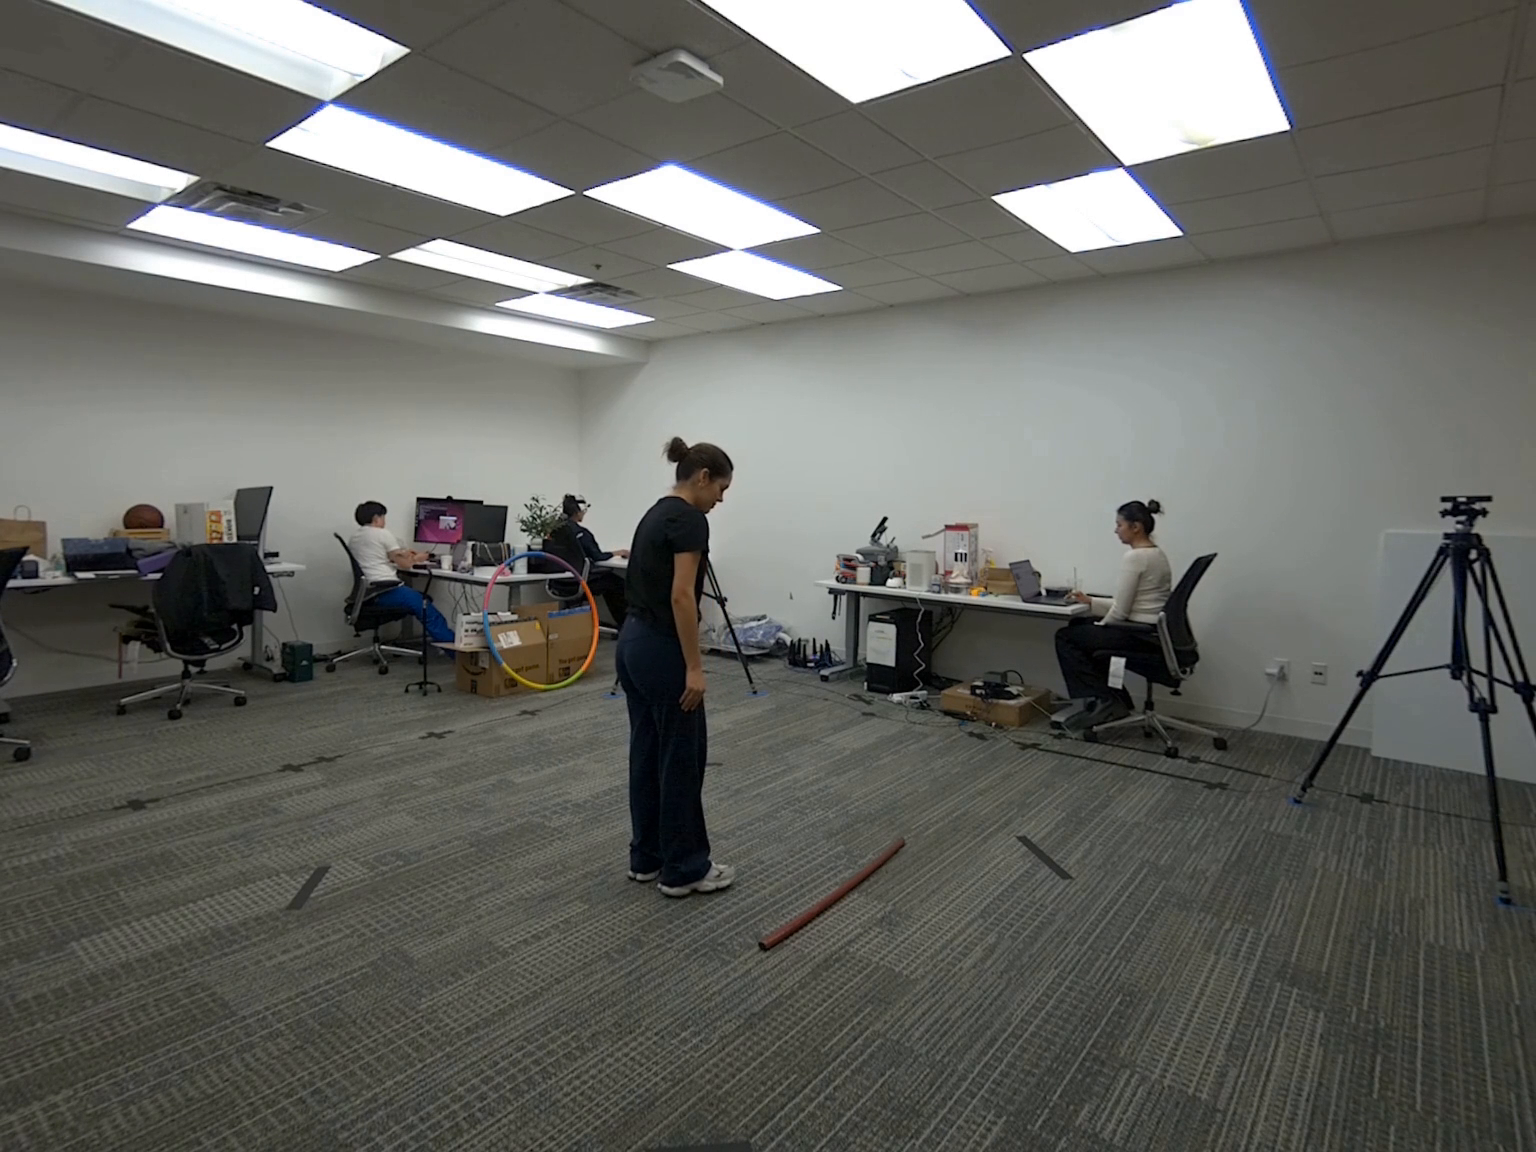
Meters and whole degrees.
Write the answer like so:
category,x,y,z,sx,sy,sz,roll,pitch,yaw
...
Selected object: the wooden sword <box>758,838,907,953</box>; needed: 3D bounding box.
category,x,y,z,sx,sy,sz,roll,pitch,yaw
wooden sword,0.269,1.068,2.969,0.053,0.024,0.996,8,9,34
